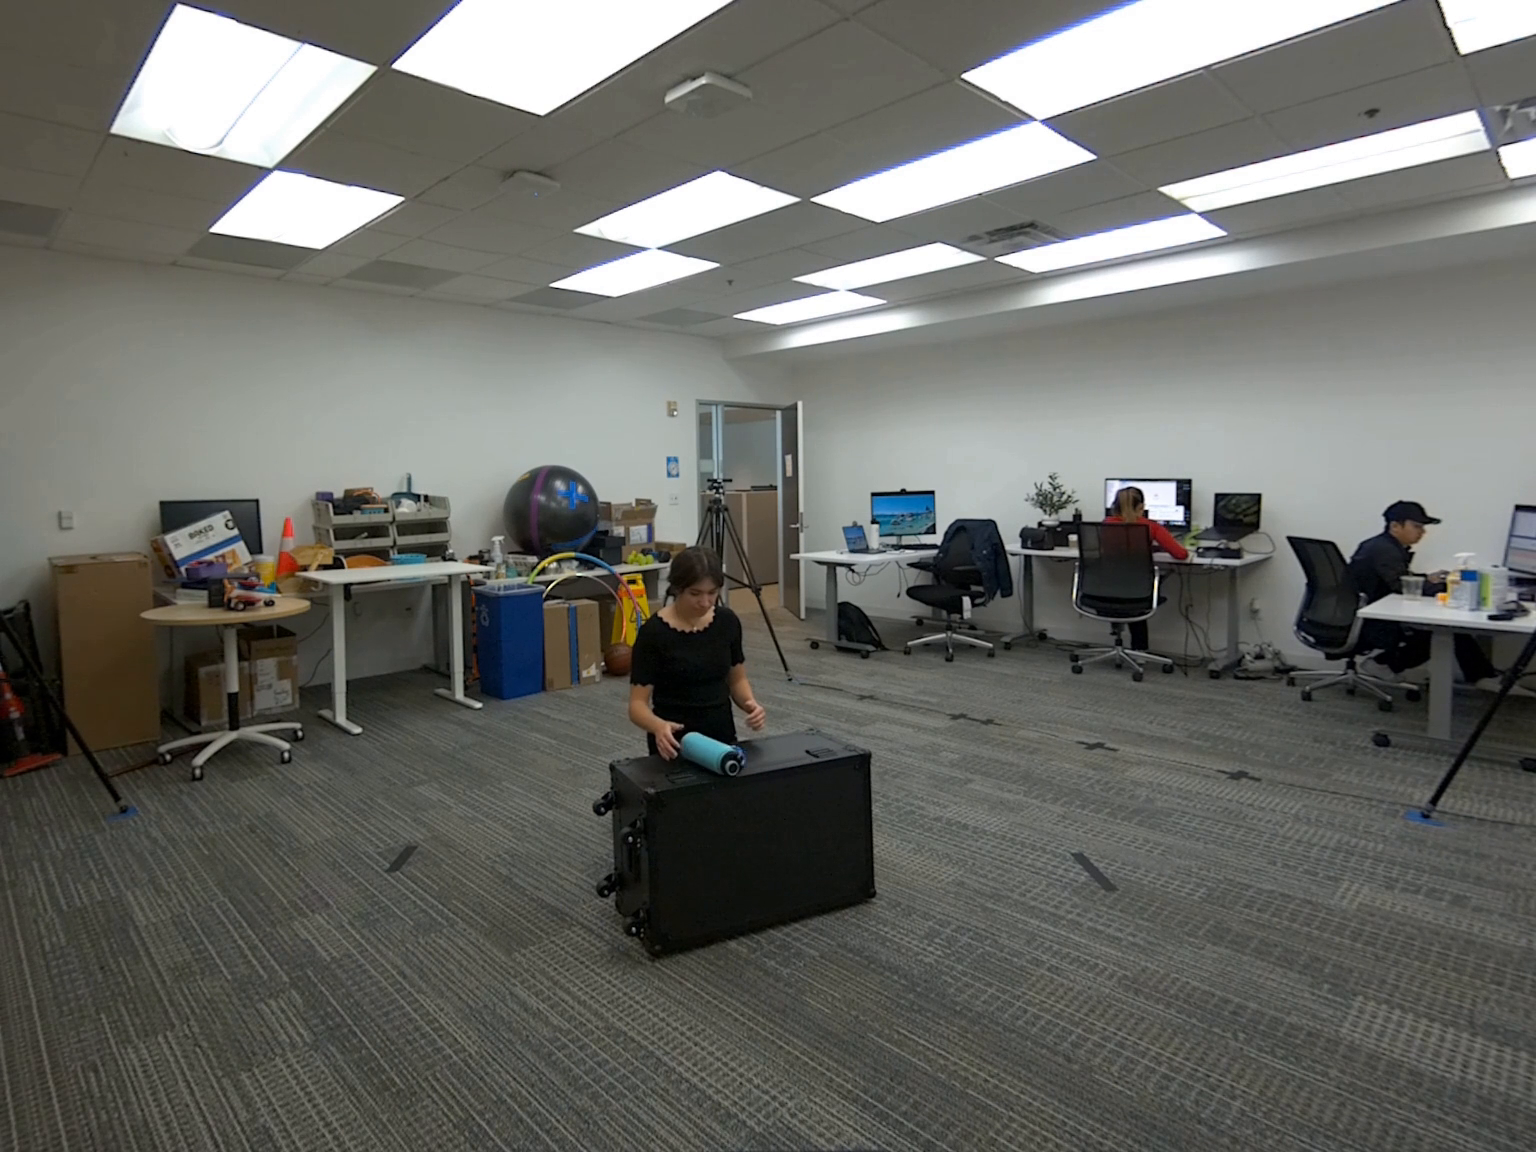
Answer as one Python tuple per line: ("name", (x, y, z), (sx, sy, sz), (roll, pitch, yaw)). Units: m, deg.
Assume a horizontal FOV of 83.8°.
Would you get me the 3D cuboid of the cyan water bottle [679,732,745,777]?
("cyan water bottle", (-0.172, 0.560, 2.670), (0.090, 0.092, 0.291), (-4, 4, -31))
